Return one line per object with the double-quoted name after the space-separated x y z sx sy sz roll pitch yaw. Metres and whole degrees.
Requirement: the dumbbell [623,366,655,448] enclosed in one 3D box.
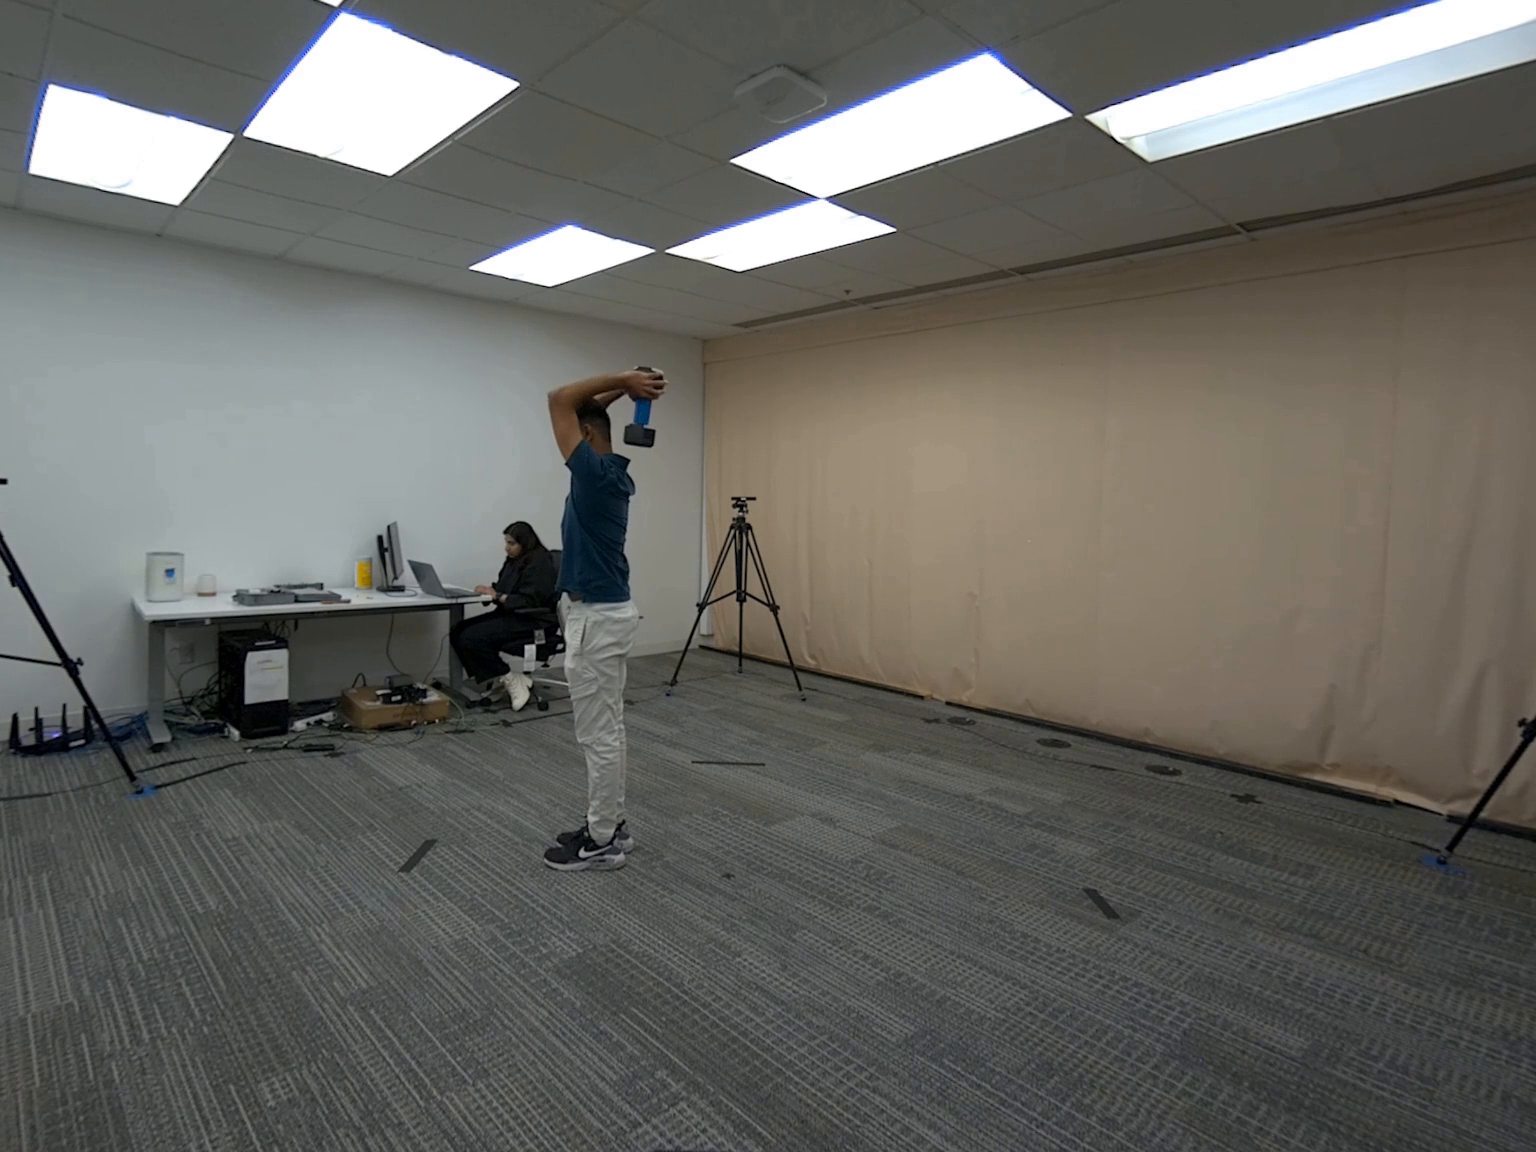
-0.487 -0.637 3.157 0.124 0.293 0.108 9 4 10 "dumbbell"
